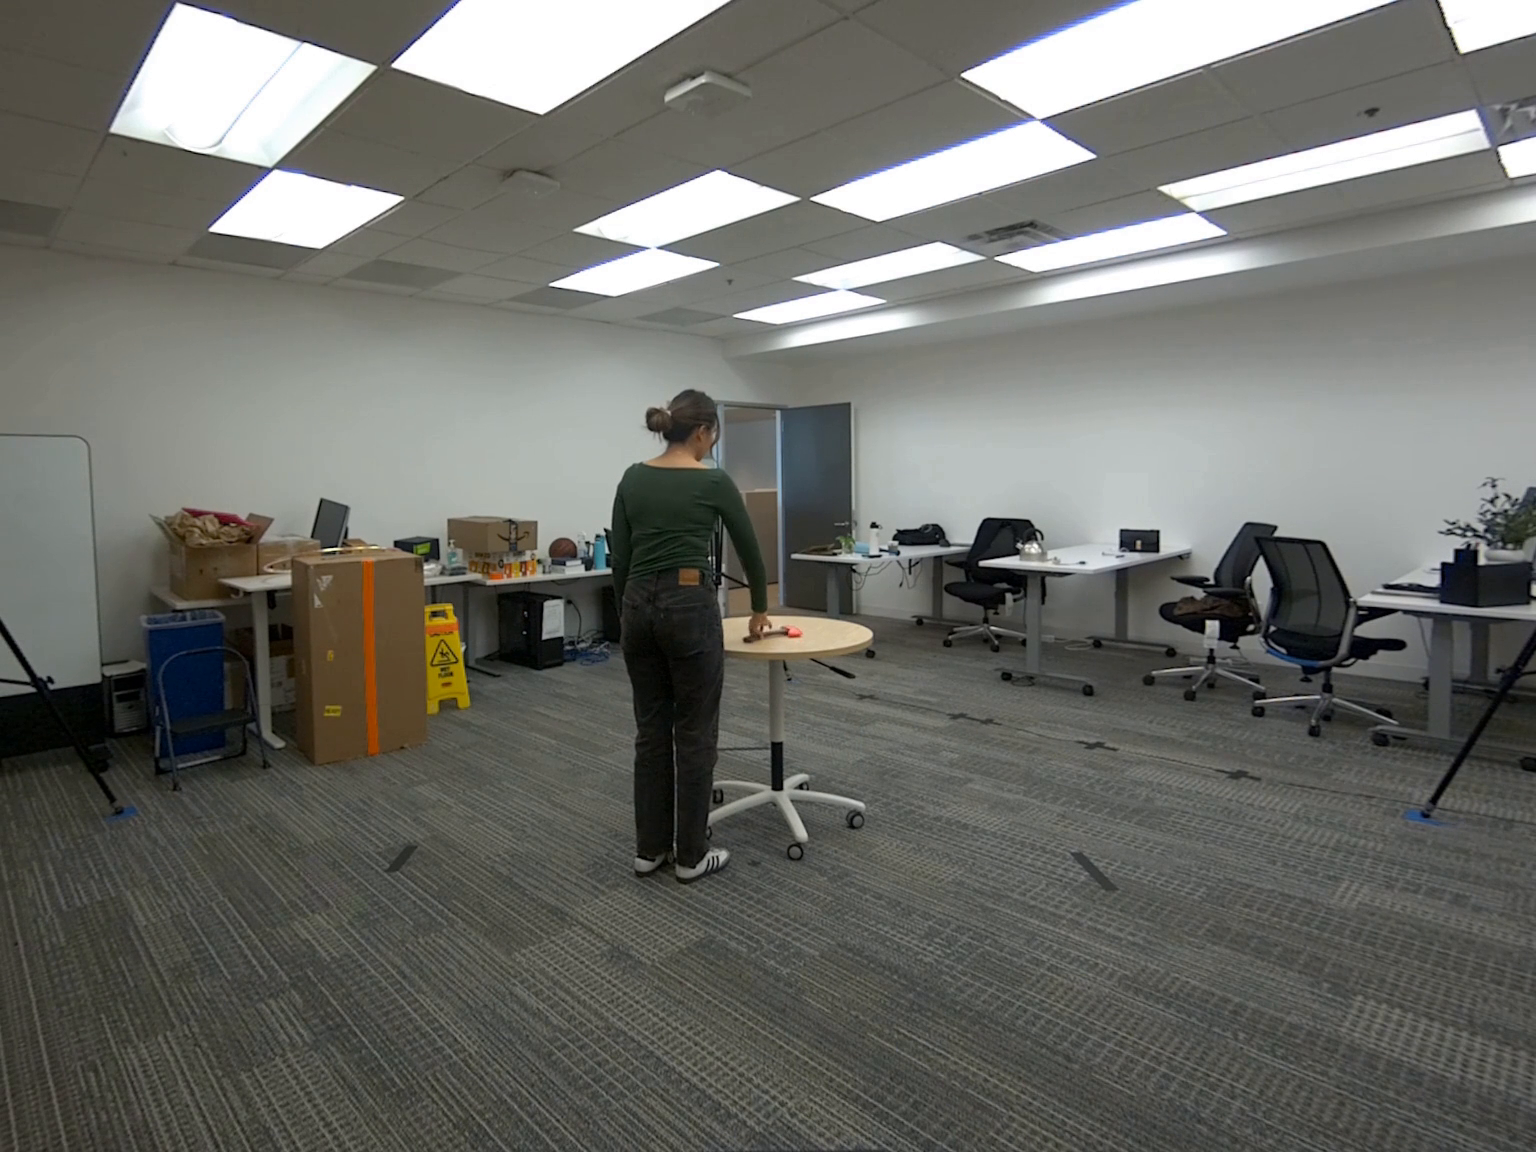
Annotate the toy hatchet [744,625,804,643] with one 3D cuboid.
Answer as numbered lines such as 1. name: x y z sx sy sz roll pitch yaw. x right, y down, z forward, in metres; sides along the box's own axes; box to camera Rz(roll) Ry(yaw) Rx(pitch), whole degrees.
1. toy hatchet: 0.032 0.231 3.278 0.135 0.029 0.264 9 14 36
